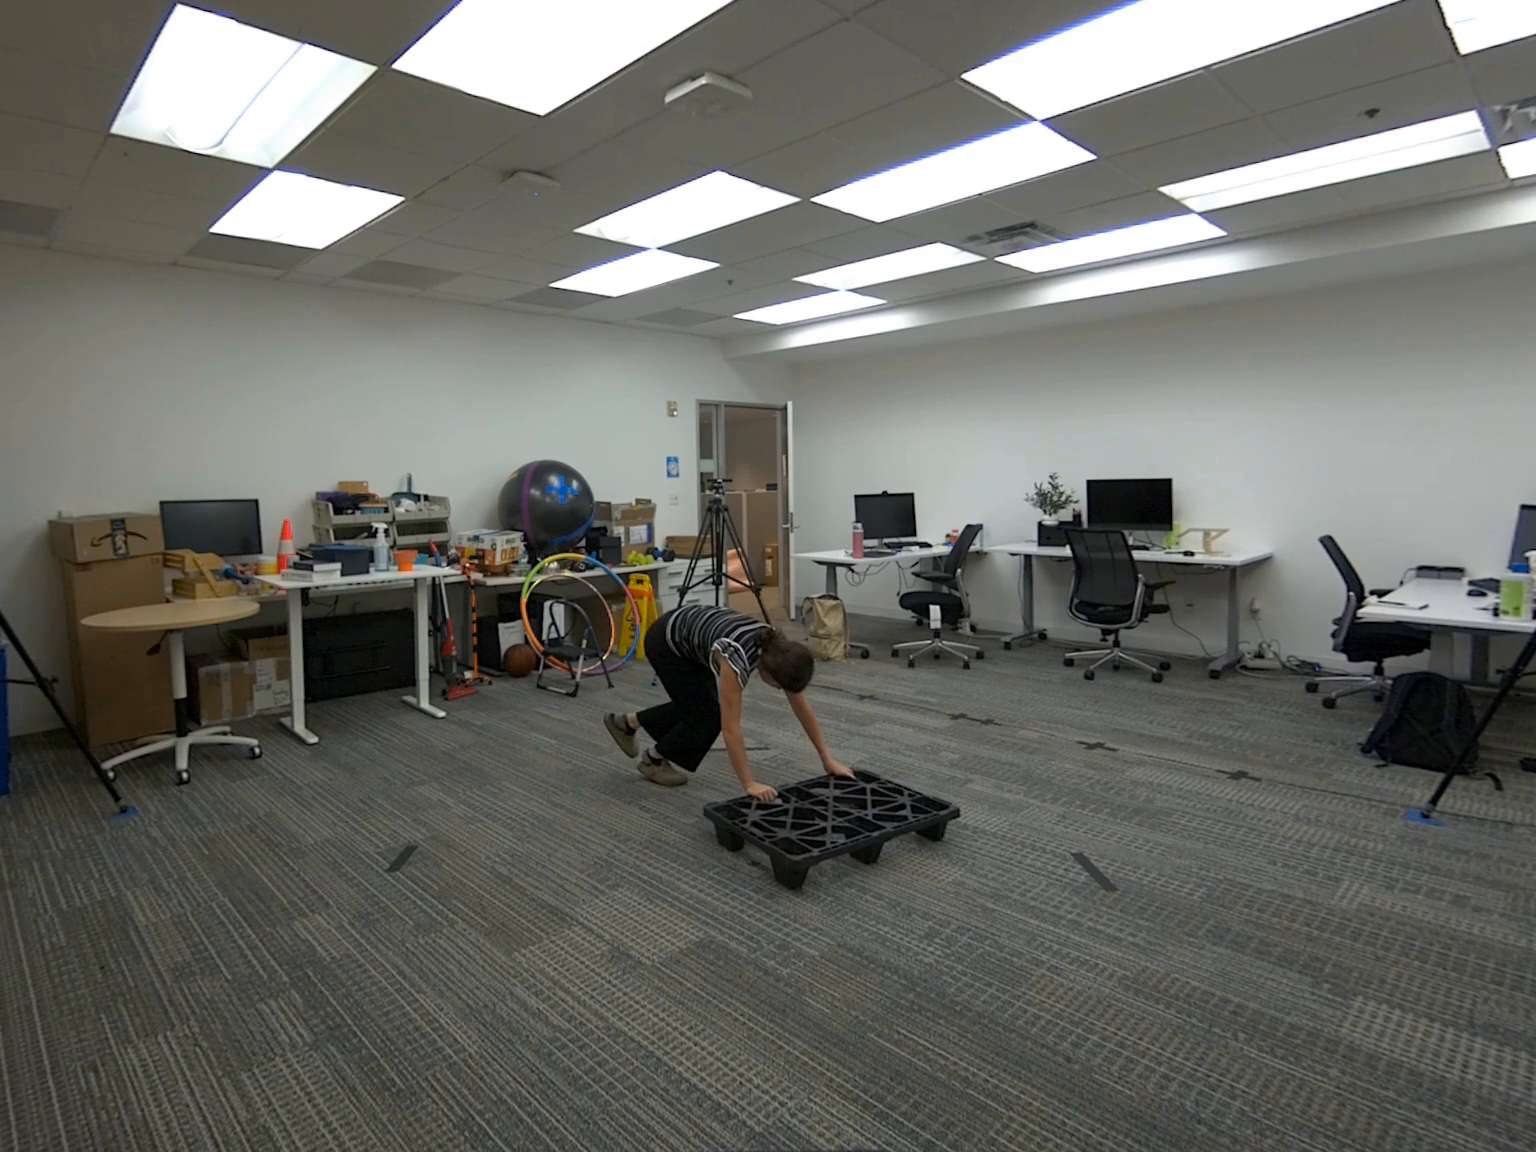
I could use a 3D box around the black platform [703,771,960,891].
[{"bbox_3d":[0.245,0.953,3.278,0.786,0.142,0.623,-5,8,-33],"label":"black platform"}]
